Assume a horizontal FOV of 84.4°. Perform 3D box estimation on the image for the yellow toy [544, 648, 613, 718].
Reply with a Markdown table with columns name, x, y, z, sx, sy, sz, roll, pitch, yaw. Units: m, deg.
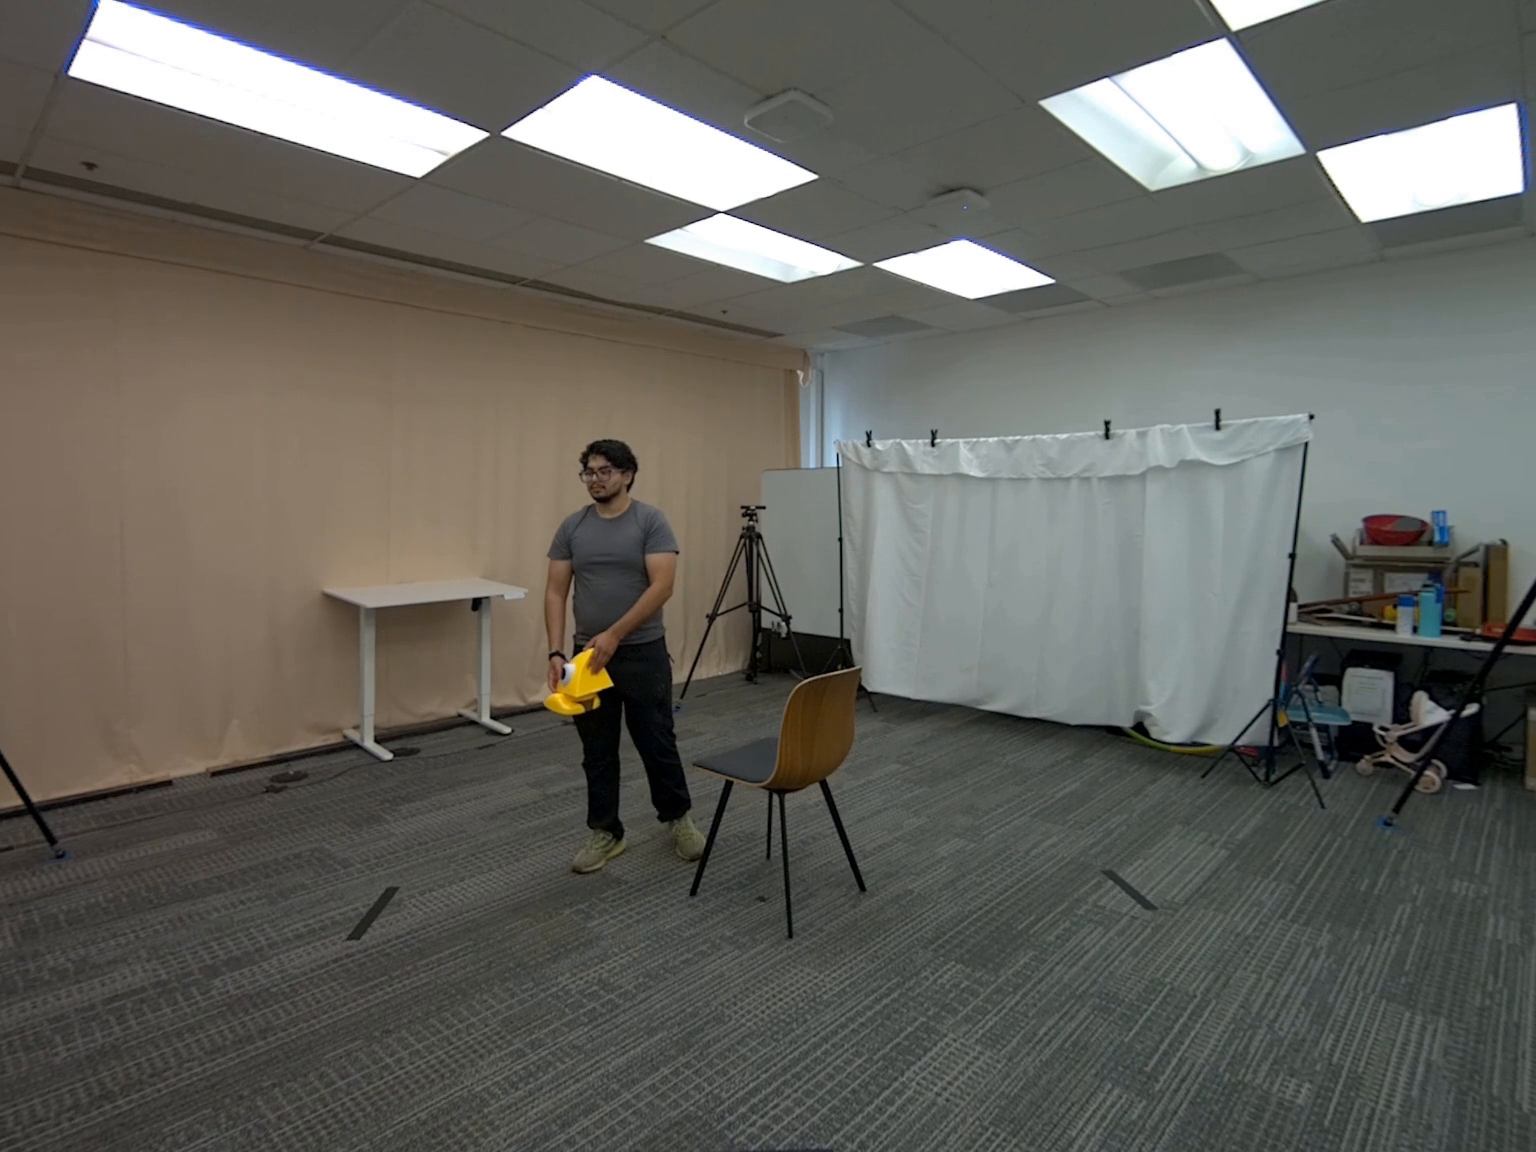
| name | x | y | z | sx | sy | sz | roll | pitch | yaw |
| --- | --- | --- | --- | --- | --- | --- | --- | --- | --- |
| yellow toy | -0.685 | 0.360 | 3.053 | 0.199 | 0.229 | 0.199 | 12 | 11 | 30 |
